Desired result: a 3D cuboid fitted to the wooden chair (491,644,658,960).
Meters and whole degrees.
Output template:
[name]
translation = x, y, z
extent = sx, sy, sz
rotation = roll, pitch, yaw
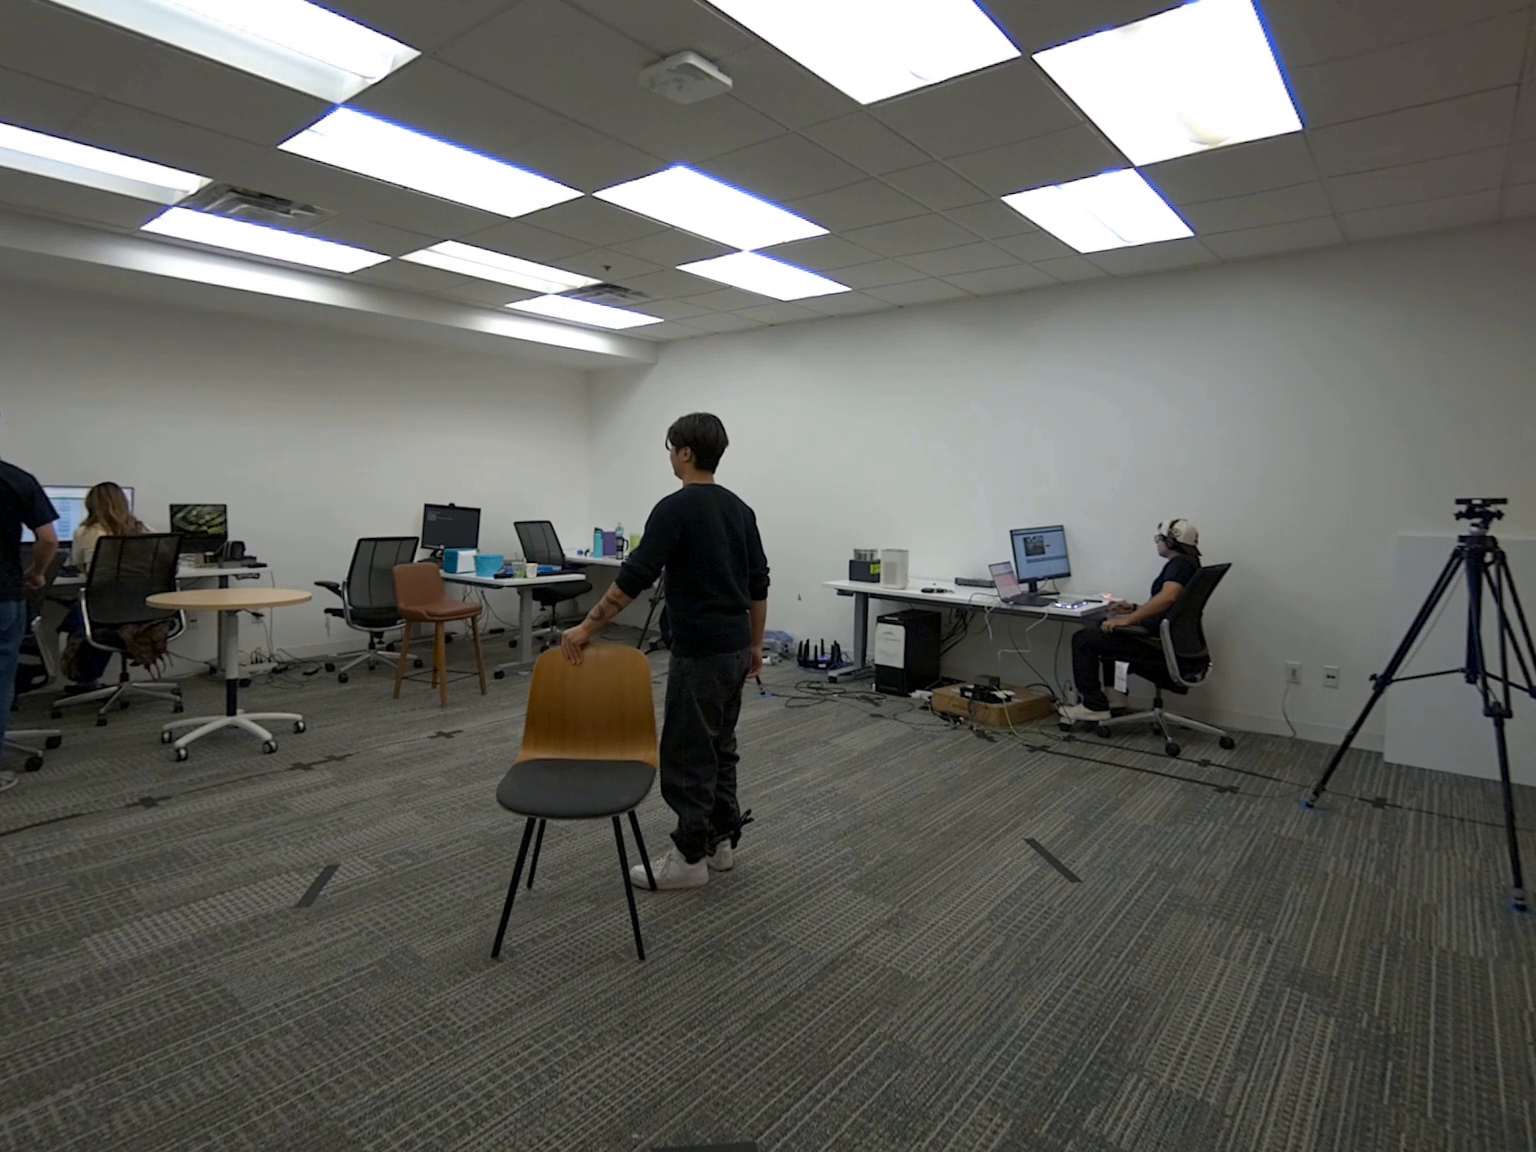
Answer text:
[wooden chair]
translation = -0.593, 0.675, 2.685
extent = 0.478, 0.878, 0.523
rotation = 1, -1, -1
